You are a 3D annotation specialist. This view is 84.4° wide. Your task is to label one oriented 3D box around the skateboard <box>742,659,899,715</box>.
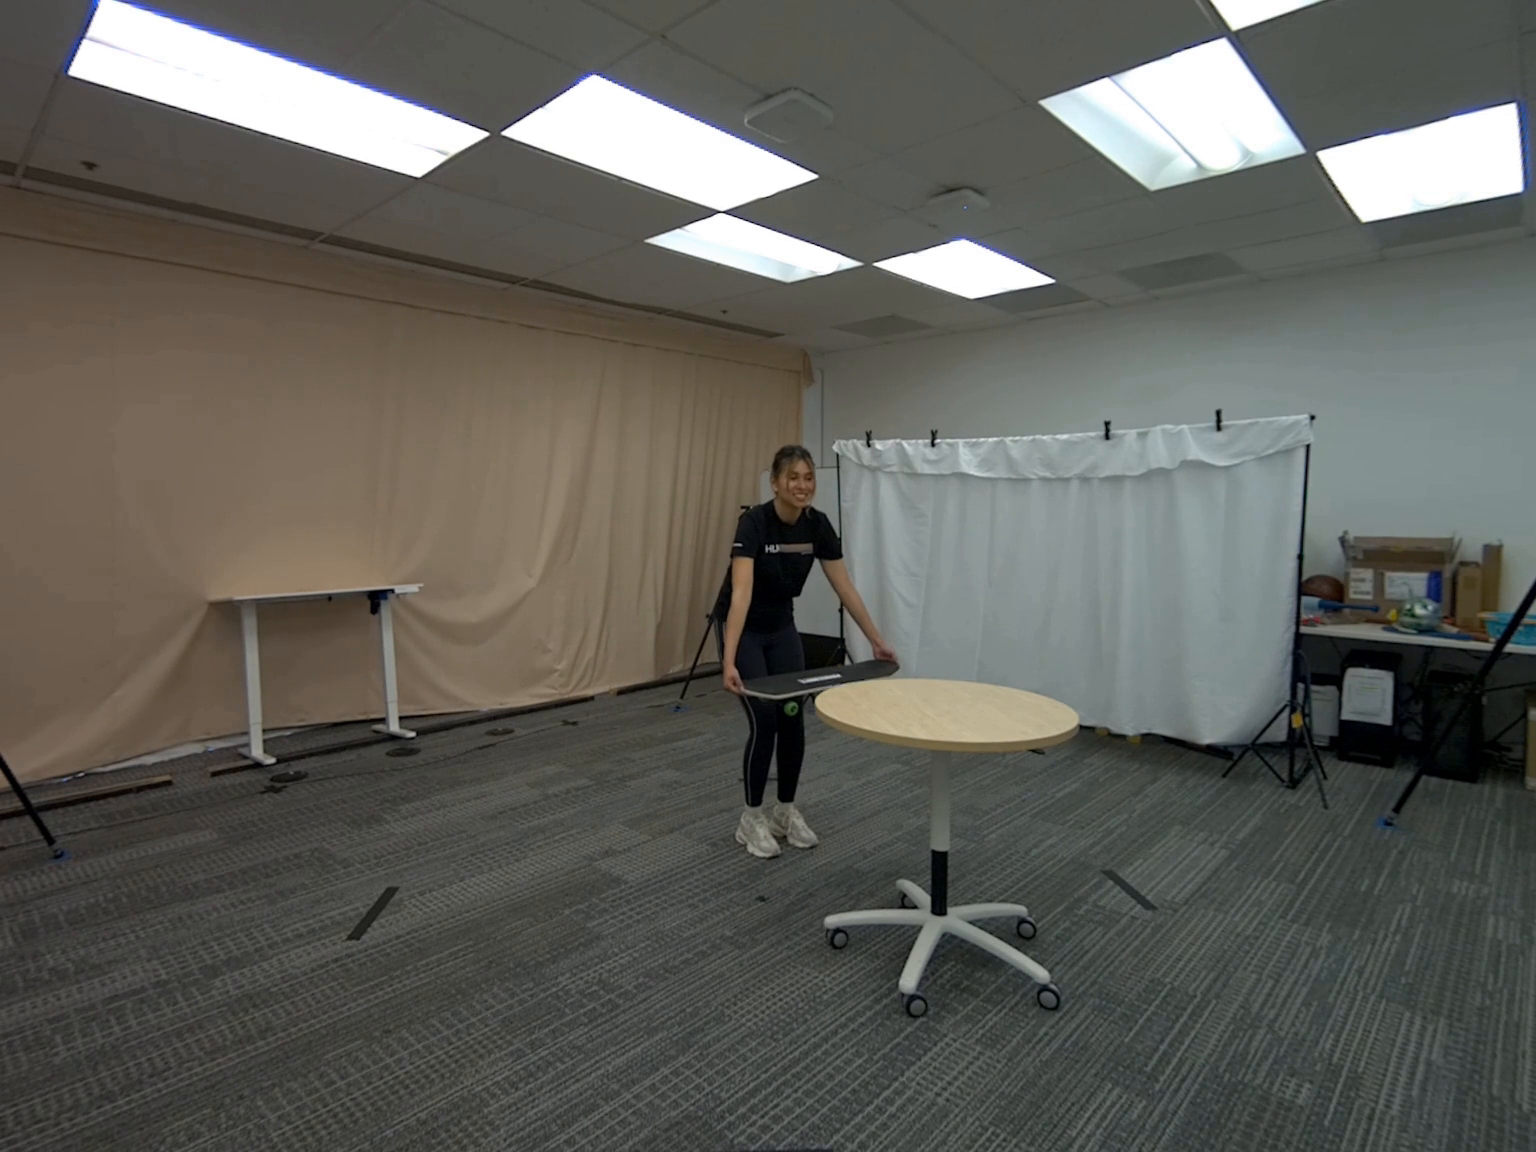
[{"bbox_3d":[0.212,0.433,3.198,0.762,0.110,0.200,-4,14,-37],"label":"skateboard"}]
